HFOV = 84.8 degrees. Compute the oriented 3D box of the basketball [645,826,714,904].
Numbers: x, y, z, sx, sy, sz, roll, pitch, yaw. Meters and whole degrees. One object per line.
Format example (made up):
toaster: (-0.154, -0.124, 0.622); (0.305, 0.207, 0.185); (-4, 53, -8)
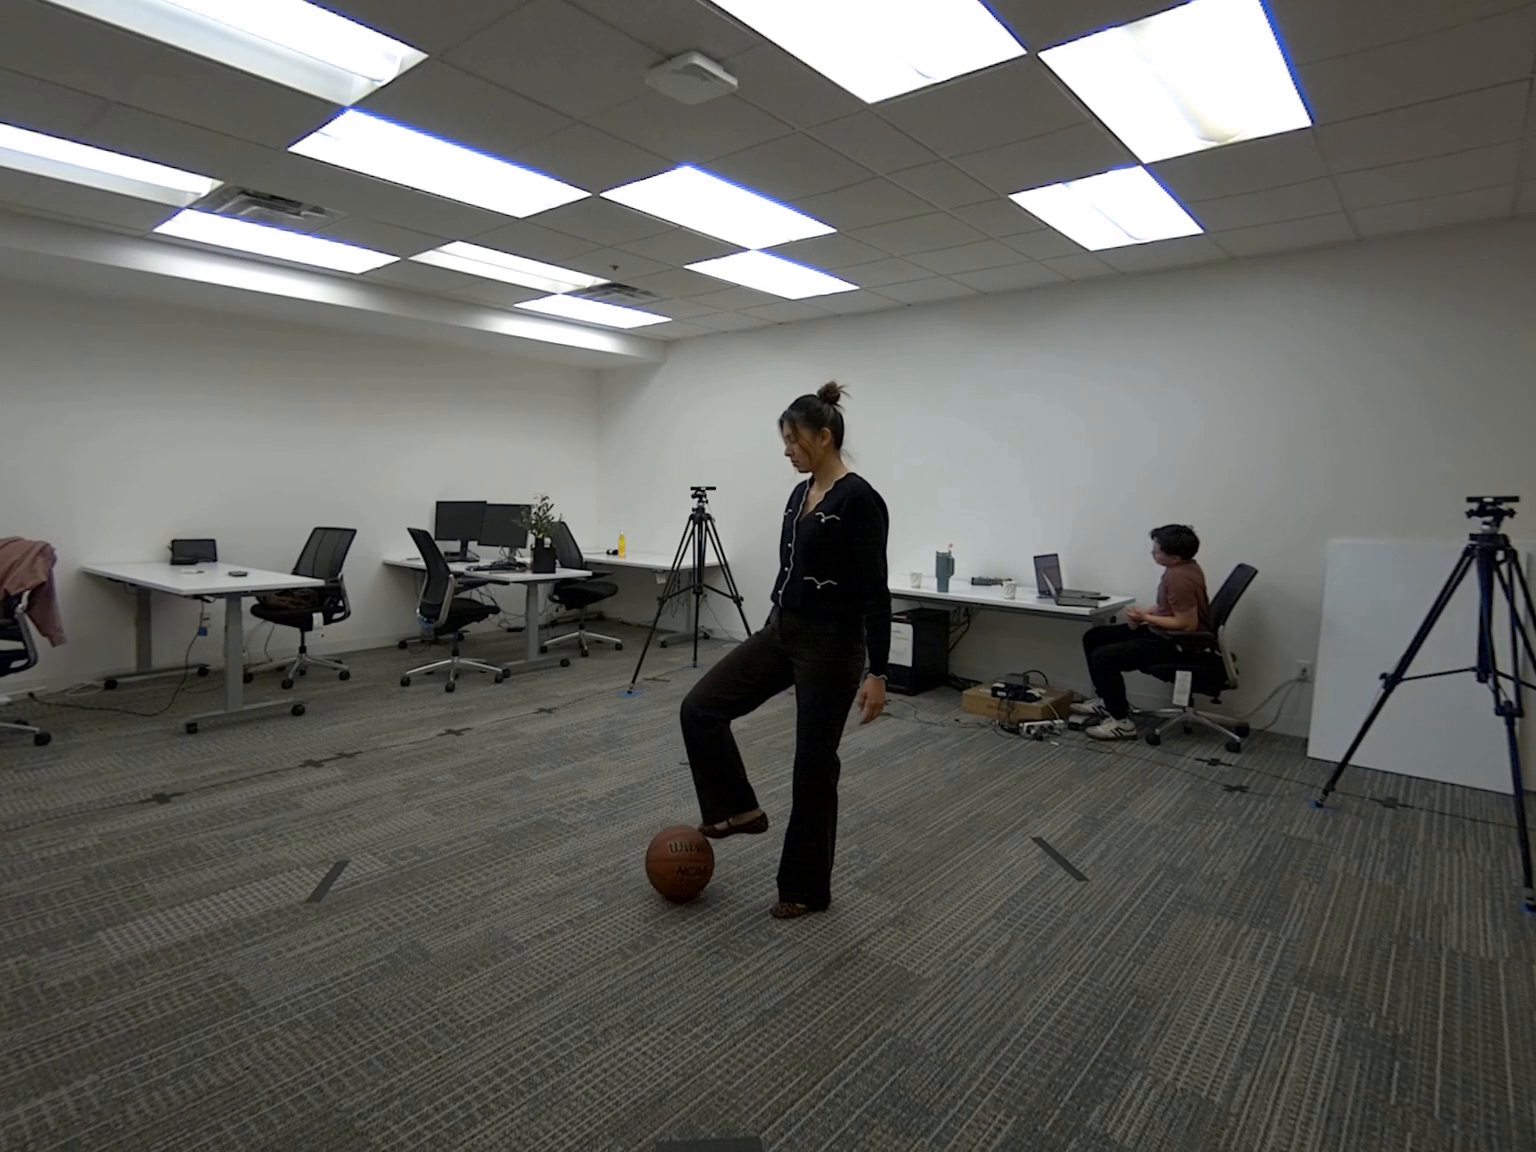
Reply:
basketball: (-0.315, 0.966, 2.876); (0.235, 0.235, 0.237); (1, 4, -2)
